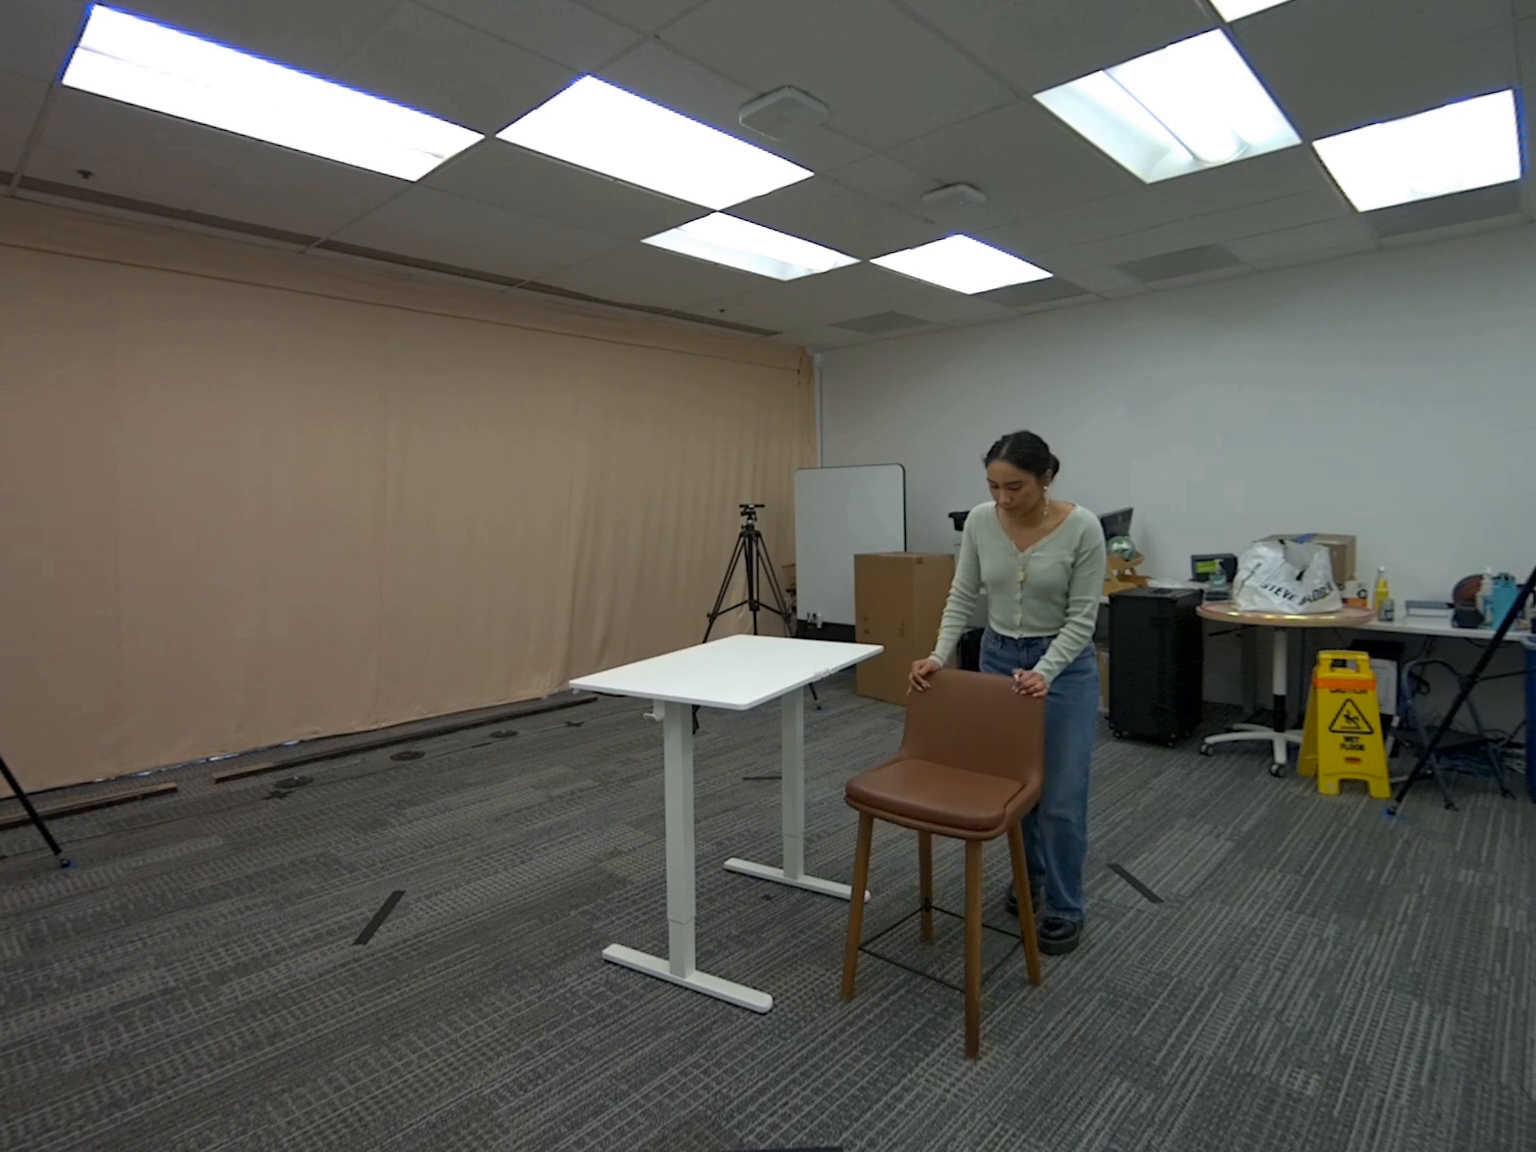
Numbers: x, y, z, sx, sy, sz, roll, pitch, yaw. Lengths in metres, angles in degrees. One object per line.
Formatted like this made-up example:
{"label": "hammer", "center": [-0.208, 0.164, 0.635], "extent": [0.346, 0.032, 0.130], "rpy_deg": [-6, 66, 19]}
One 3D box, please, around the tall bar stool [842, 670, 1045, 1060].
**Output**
{"label": "tall bar stool", "center": [0.511, 0.746, 2.373], "extent": [0.472, 0.889, 0.453], "rpy_deg": [3, 3, 42]}
